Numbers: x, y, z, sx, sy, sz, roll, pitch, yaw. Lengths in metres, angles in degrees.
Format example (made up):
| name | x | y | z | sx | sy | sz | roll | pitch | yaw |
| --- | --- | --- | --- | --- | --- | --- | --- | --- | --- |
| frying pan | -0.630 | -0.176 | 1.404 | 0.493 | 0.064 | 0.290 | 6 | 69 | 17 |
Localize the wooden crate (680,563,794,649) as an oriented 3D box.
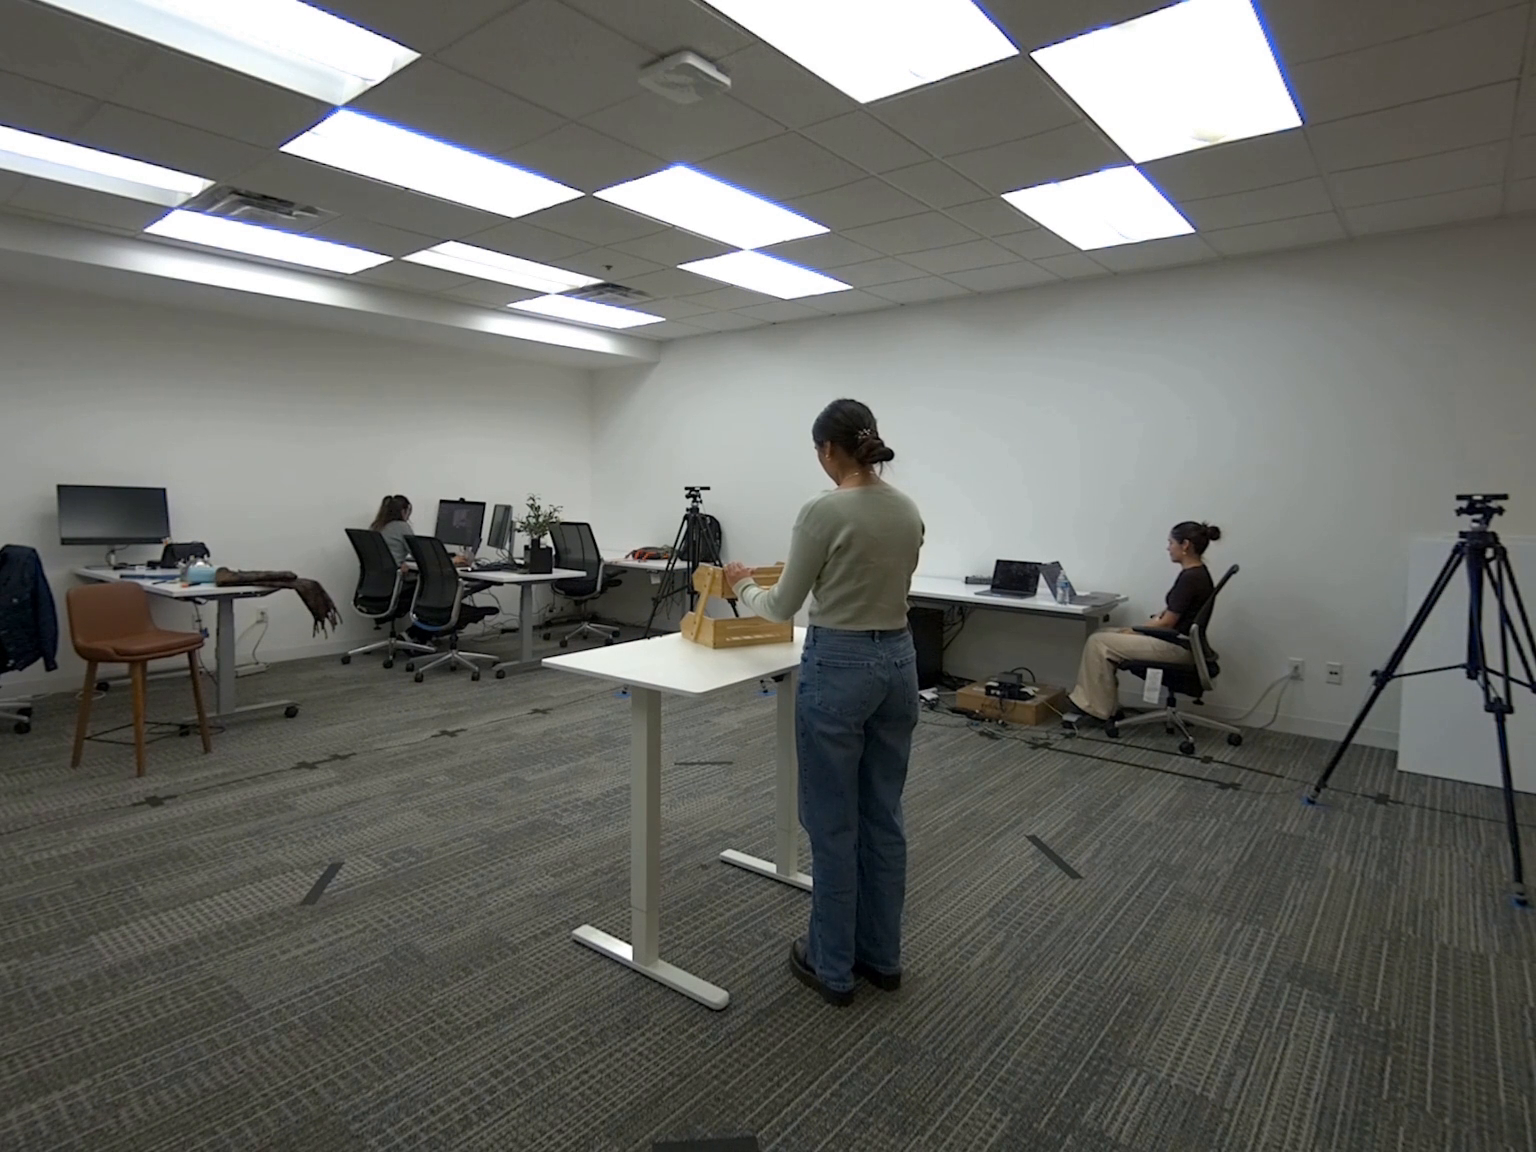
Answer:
| name | x | y | z | sx | sy | sz | roll | pitch | yaw |
| --- | --- | --- | --- | --- | --- | --- | --- | --- | --- |
| wooden crate | -0.099 | 0.080 | 2.823 | 0.316 | 0.272 | 0.311 | -3 | 6 | -29 |
